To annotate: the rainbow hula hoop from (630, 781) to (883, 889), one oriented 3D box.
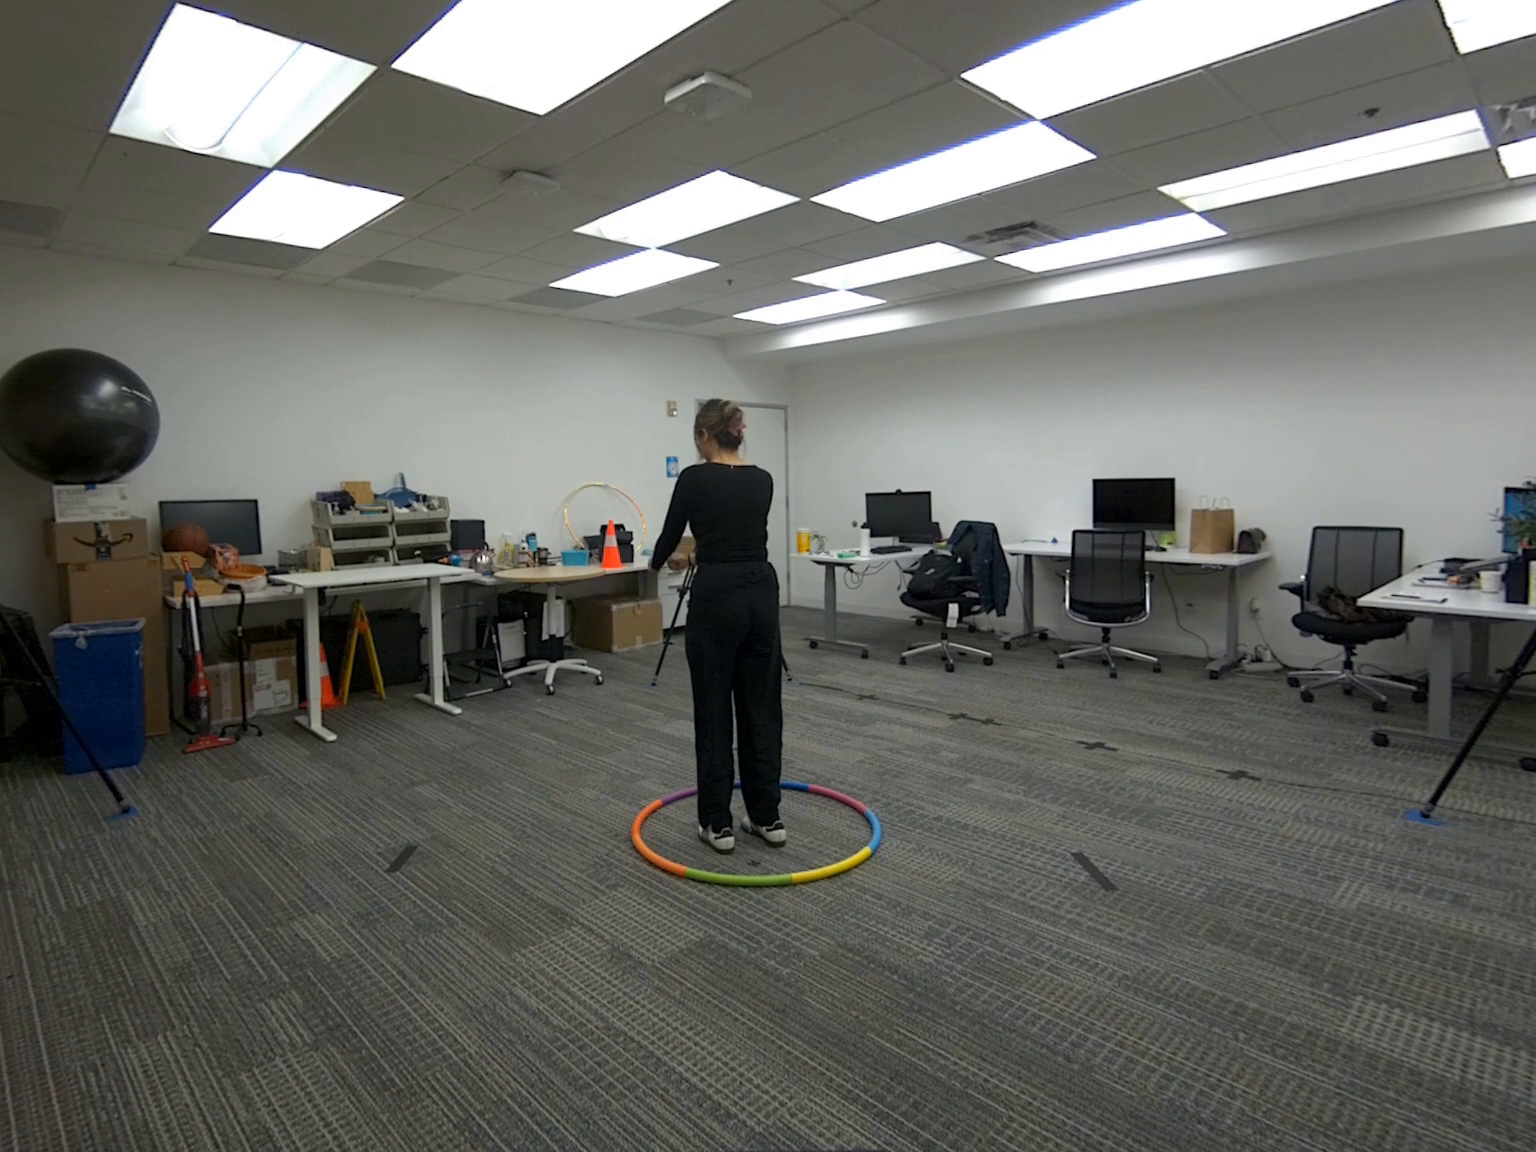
[{"bbox_3d":[-0.048,0.983,3.401,0.978,0.035,0.984,-1,6,-2],"label":"rainbow hula hoop"}]
